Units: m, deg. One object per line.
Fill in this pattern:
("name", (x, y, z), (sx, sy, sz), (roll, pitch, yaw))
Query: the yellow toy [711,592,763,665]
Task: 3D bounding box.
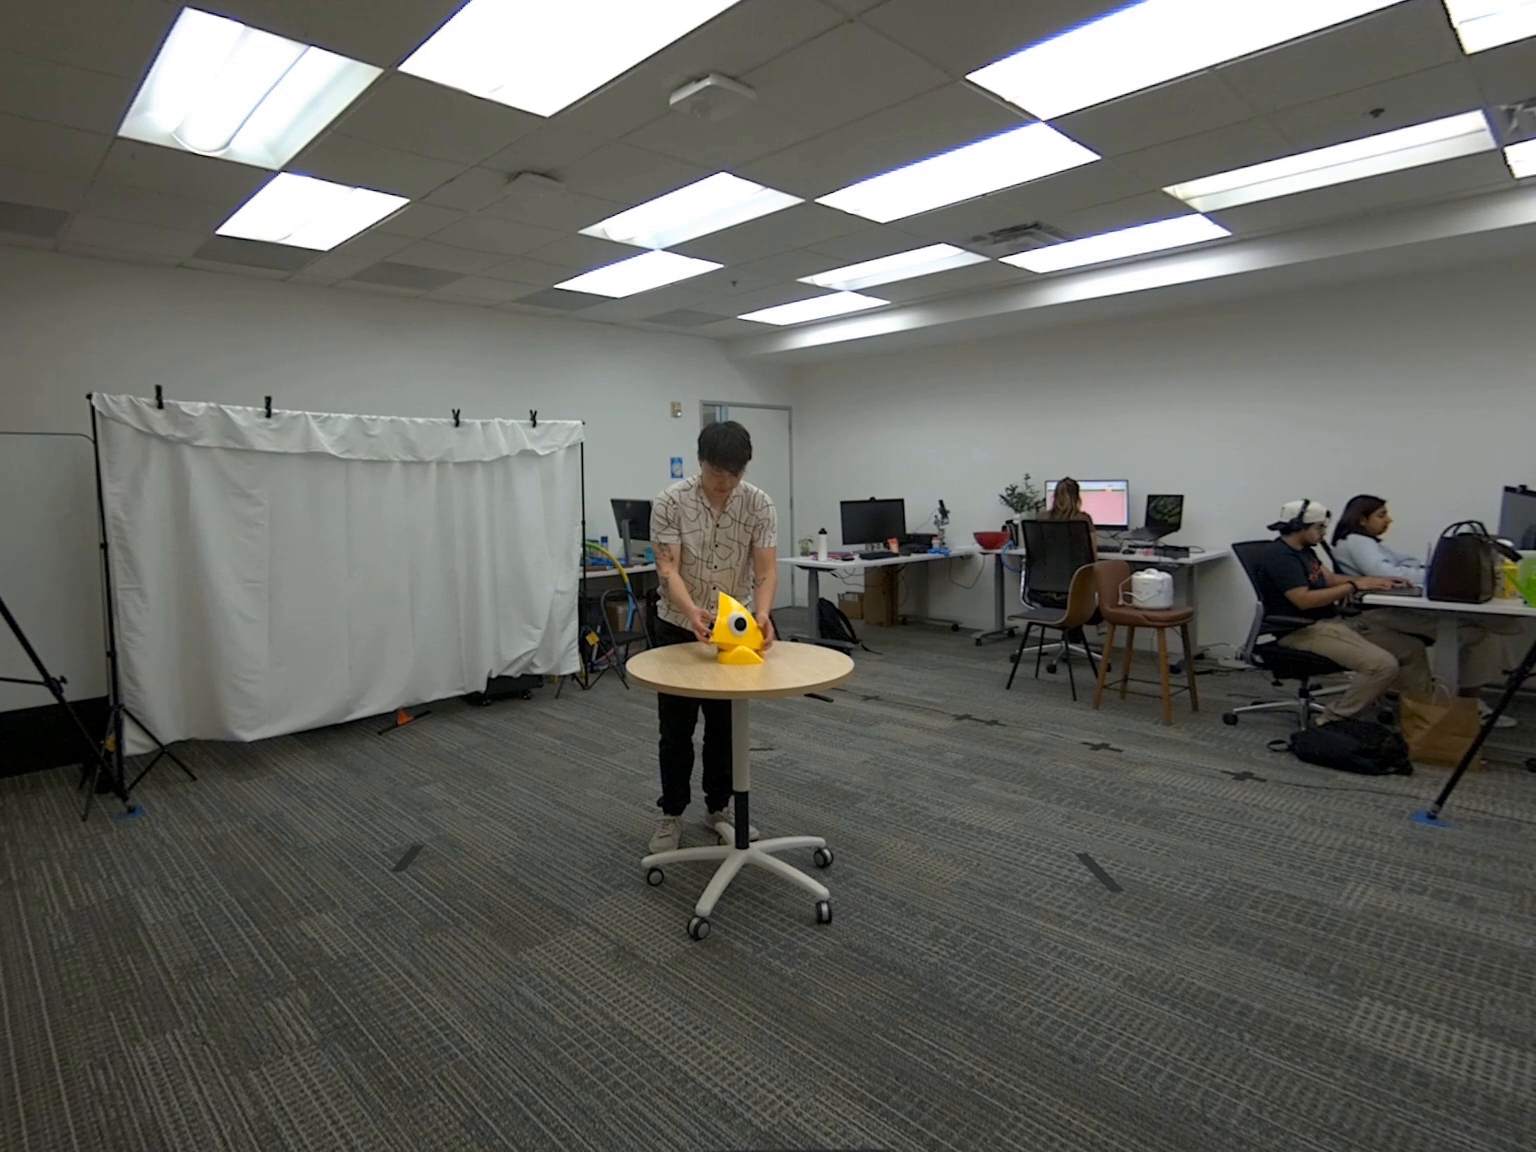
("yellow toy", (-0.106, 0.169, 2.938), (0.194, 0.230, 0.205), (-2, 5, 3))
